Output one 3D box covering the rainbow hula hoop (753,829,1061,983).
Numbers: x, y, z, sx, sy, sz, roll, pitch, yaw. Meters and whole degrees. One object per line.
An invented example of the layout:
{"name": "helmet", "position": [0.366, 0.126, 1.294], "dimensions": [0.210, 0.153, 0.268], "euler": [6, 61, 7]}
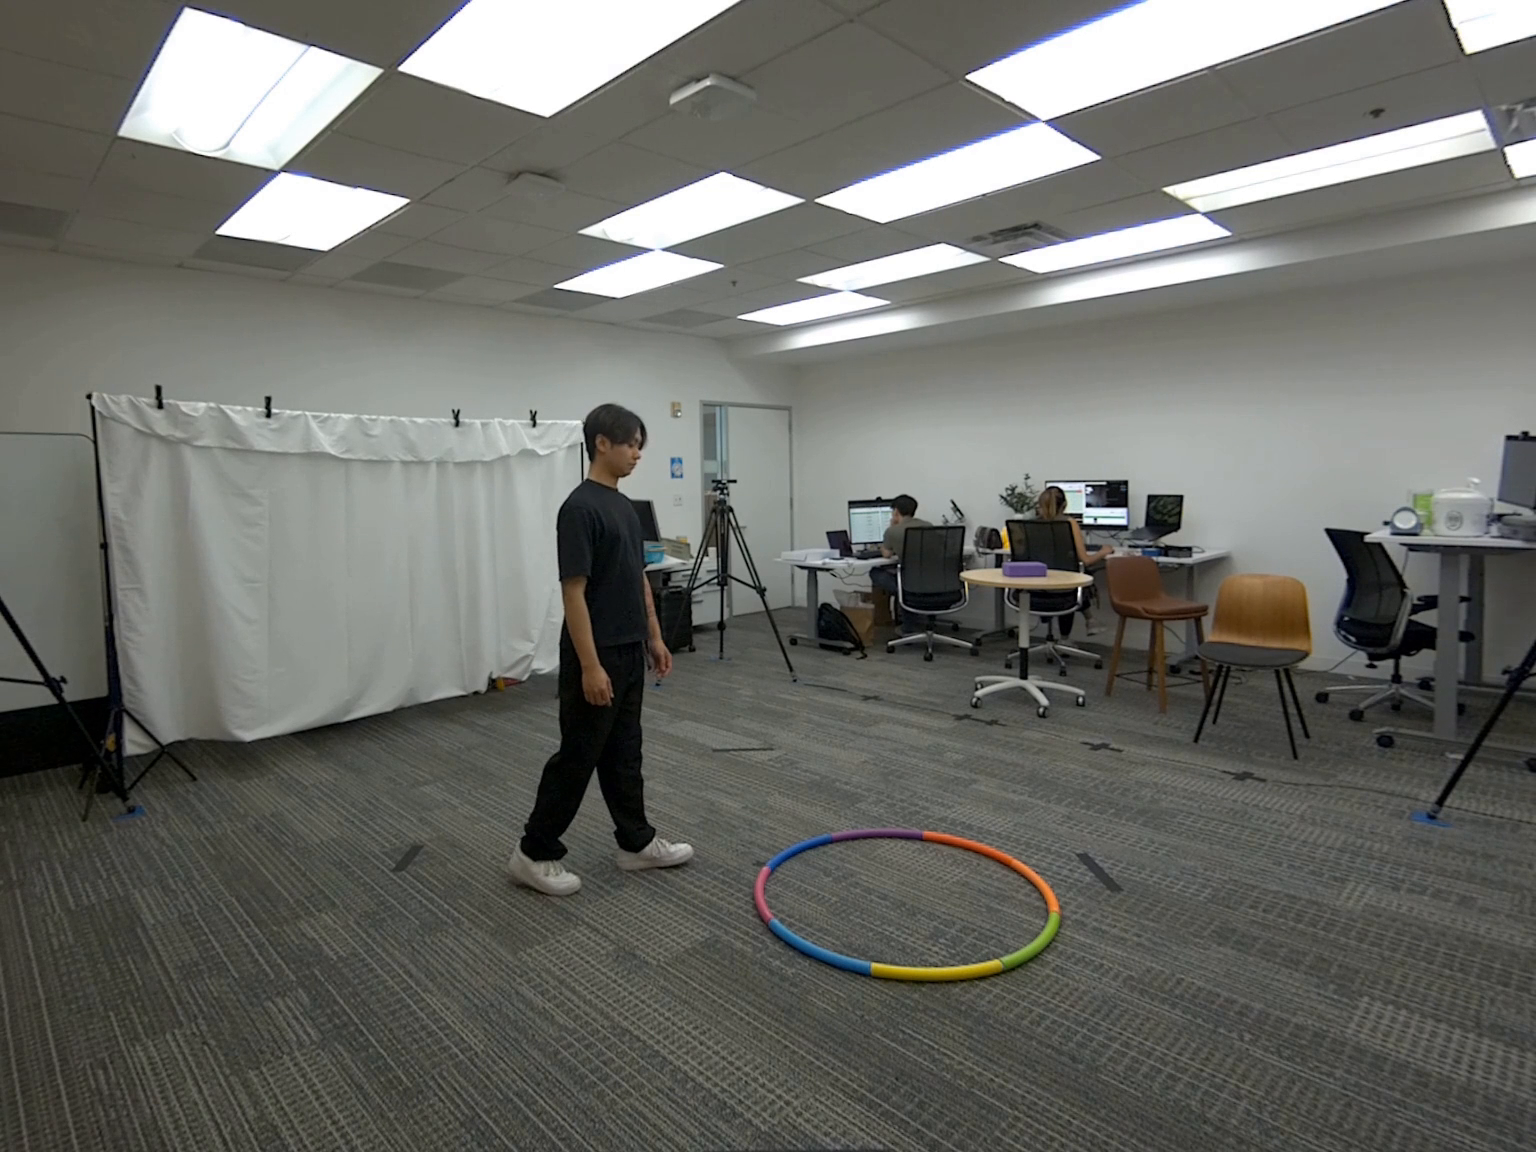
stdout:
{"name": "rainbow hula hoop", "position": [0.439, 1.037, 2.845], "dimensions": [0.978, 0.035, 0.984], "euler": [-2, 6, -2]}
